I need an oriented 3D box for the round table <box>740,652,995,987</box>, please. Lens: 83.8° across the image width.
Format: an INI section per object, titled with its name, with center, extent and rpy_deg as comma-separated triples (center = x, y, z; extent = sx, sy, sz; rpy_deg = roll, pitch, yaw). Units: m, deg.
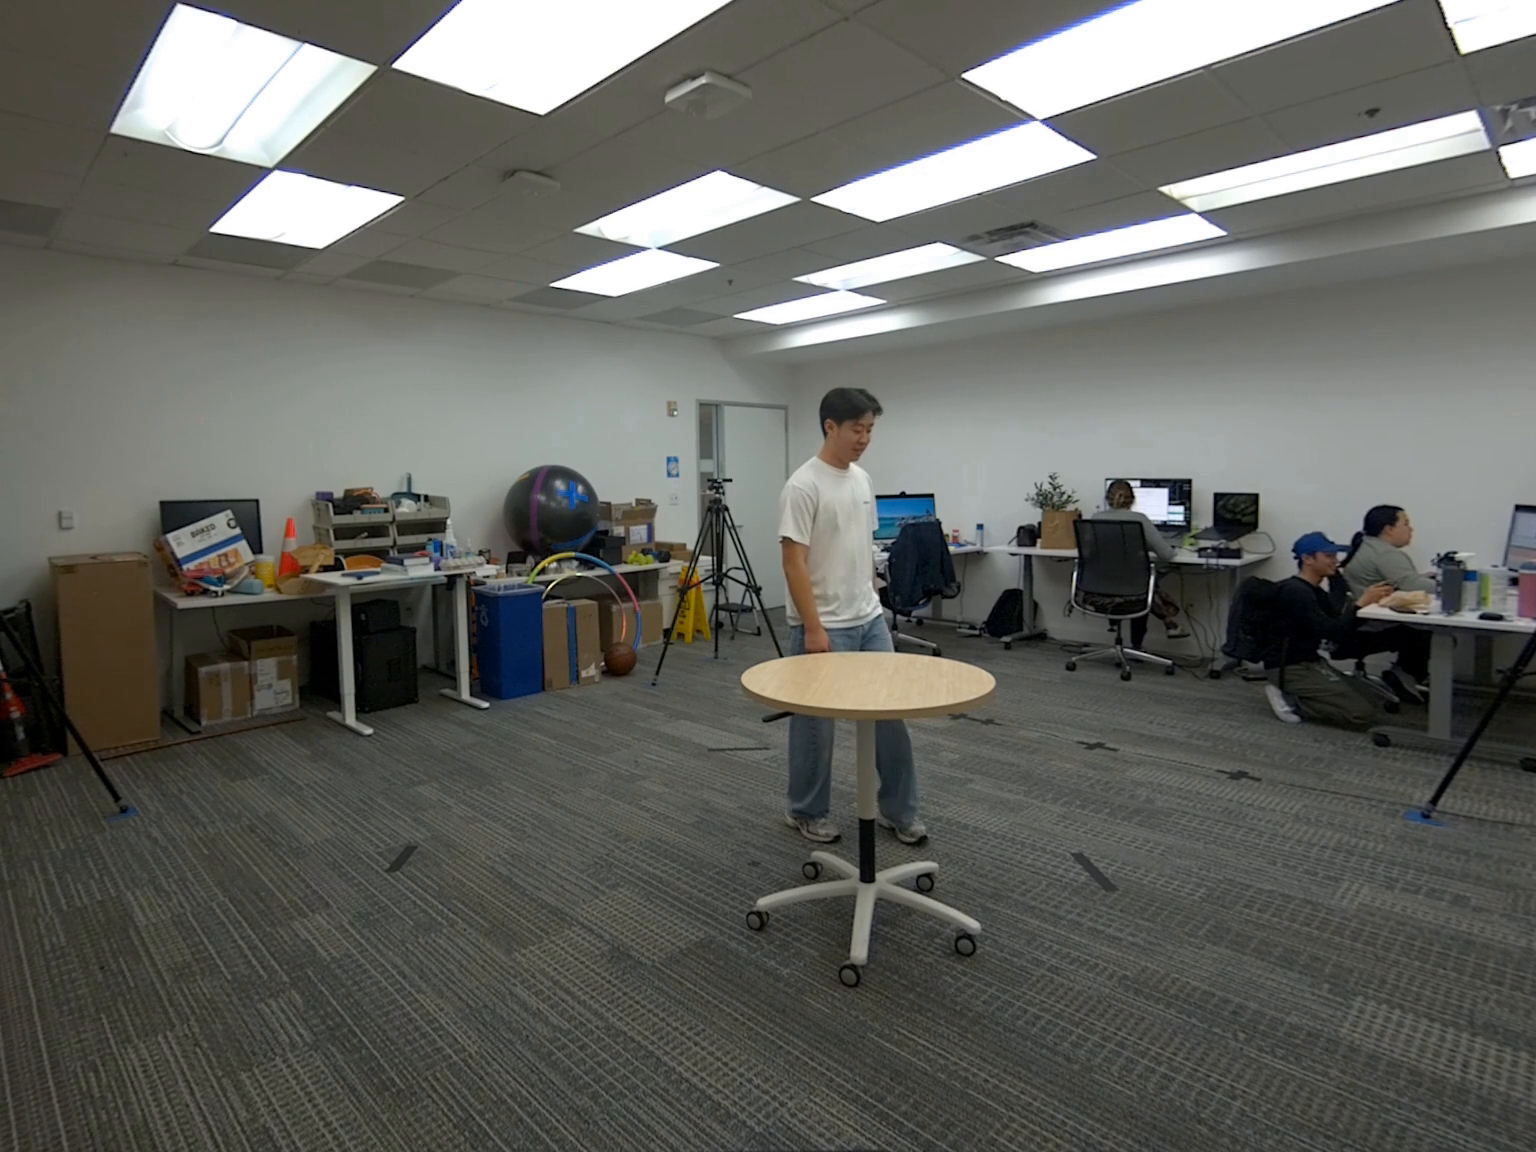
[round table]
center = 0.307, 0.704, 2.655
extent = 0.763, 0.791, 0.768
rpy_deg = -1, 5, -2
